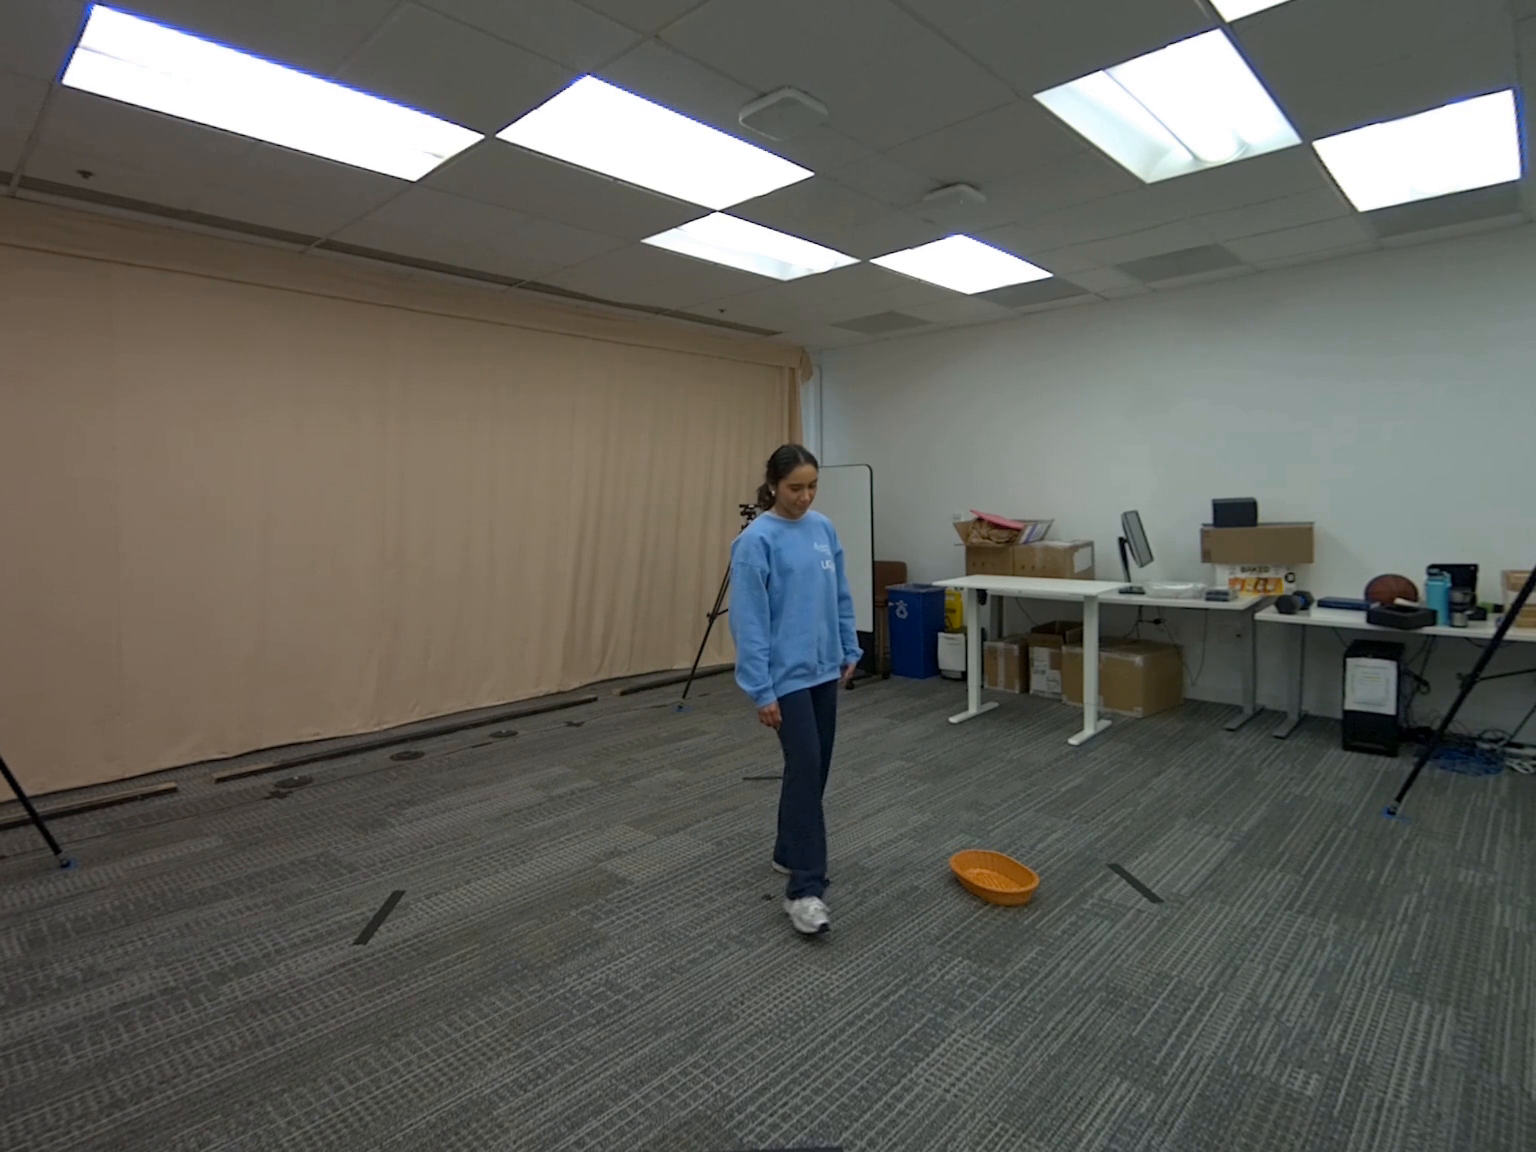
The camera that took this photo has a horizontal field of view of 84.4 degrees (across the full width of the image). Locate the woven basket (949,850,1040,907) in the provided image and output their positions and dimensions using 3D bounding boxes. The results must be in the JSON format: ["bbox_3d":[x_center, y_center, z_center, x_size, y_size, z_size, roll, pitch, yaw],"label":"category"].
[{"bbox_3d":[0.808,1.087,3.016,0.247,0.073,0.359,-4,6,-22],"label":"woven basket"}]
